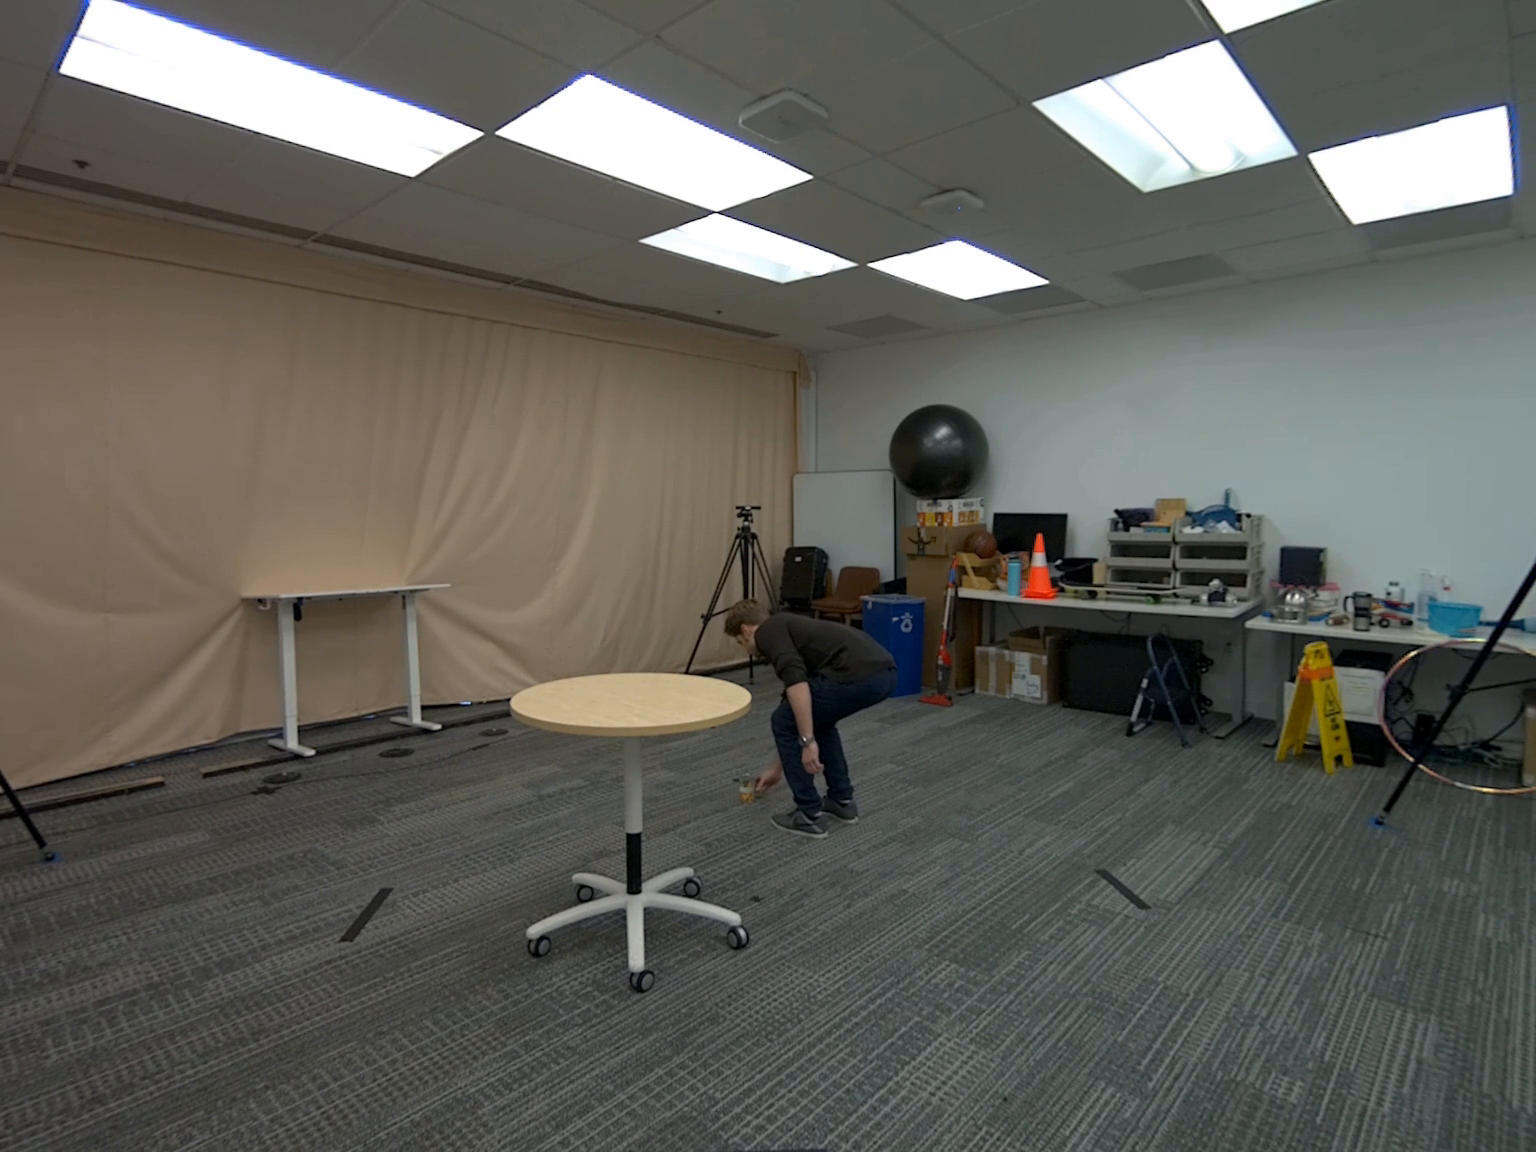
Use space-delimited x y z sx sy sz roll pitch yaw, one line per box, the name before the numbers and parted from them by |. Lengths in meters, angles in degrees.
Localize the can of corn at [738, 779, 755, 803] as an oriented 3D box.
can of corn | -0.096 1.015 4.009 0.074 0.111 0.074 2 -4 -2
